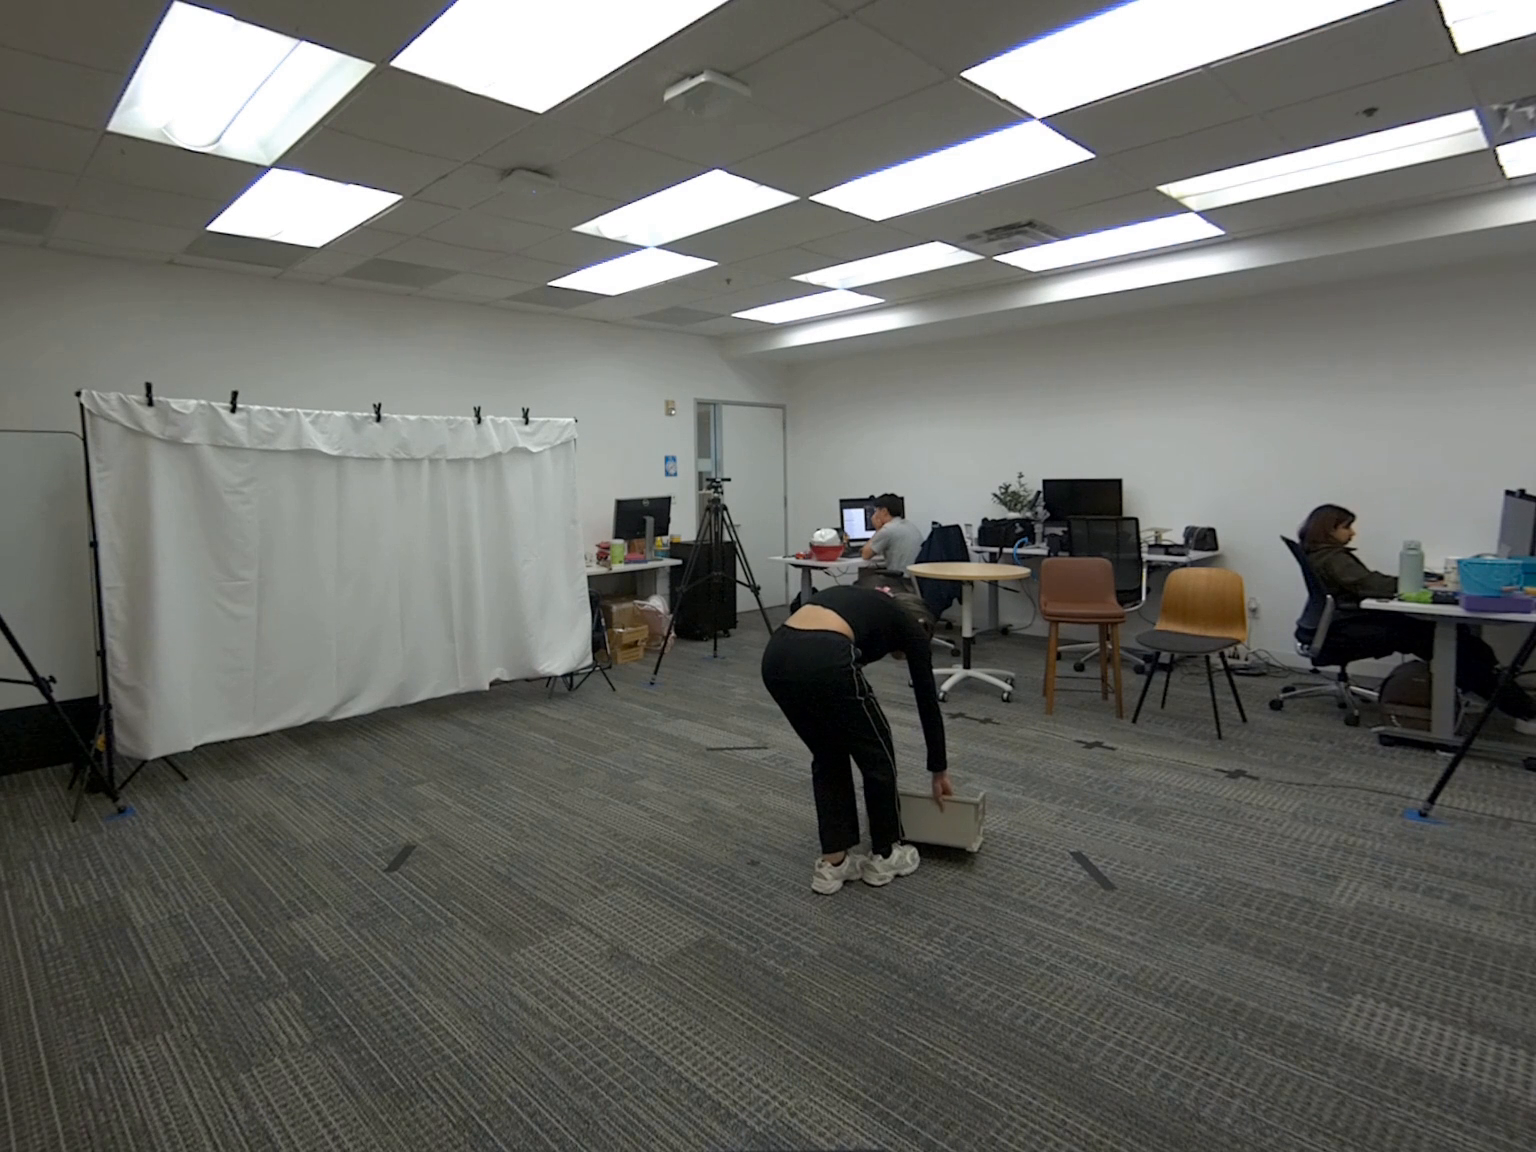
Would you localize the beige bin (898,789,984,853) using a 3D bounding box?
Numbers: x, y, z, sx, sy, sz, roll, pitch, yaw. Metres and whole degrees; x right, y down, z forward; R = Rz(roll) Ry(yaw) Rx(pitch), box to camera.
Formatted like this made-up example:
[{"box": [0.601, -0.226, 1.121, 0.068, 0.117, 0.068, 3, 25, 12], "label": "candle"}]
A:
[{"box": [0.585, 0.900, 3.249, 0.428, 0.190, 0.369, 3, -8, 13], "label": "beige bin"}]
